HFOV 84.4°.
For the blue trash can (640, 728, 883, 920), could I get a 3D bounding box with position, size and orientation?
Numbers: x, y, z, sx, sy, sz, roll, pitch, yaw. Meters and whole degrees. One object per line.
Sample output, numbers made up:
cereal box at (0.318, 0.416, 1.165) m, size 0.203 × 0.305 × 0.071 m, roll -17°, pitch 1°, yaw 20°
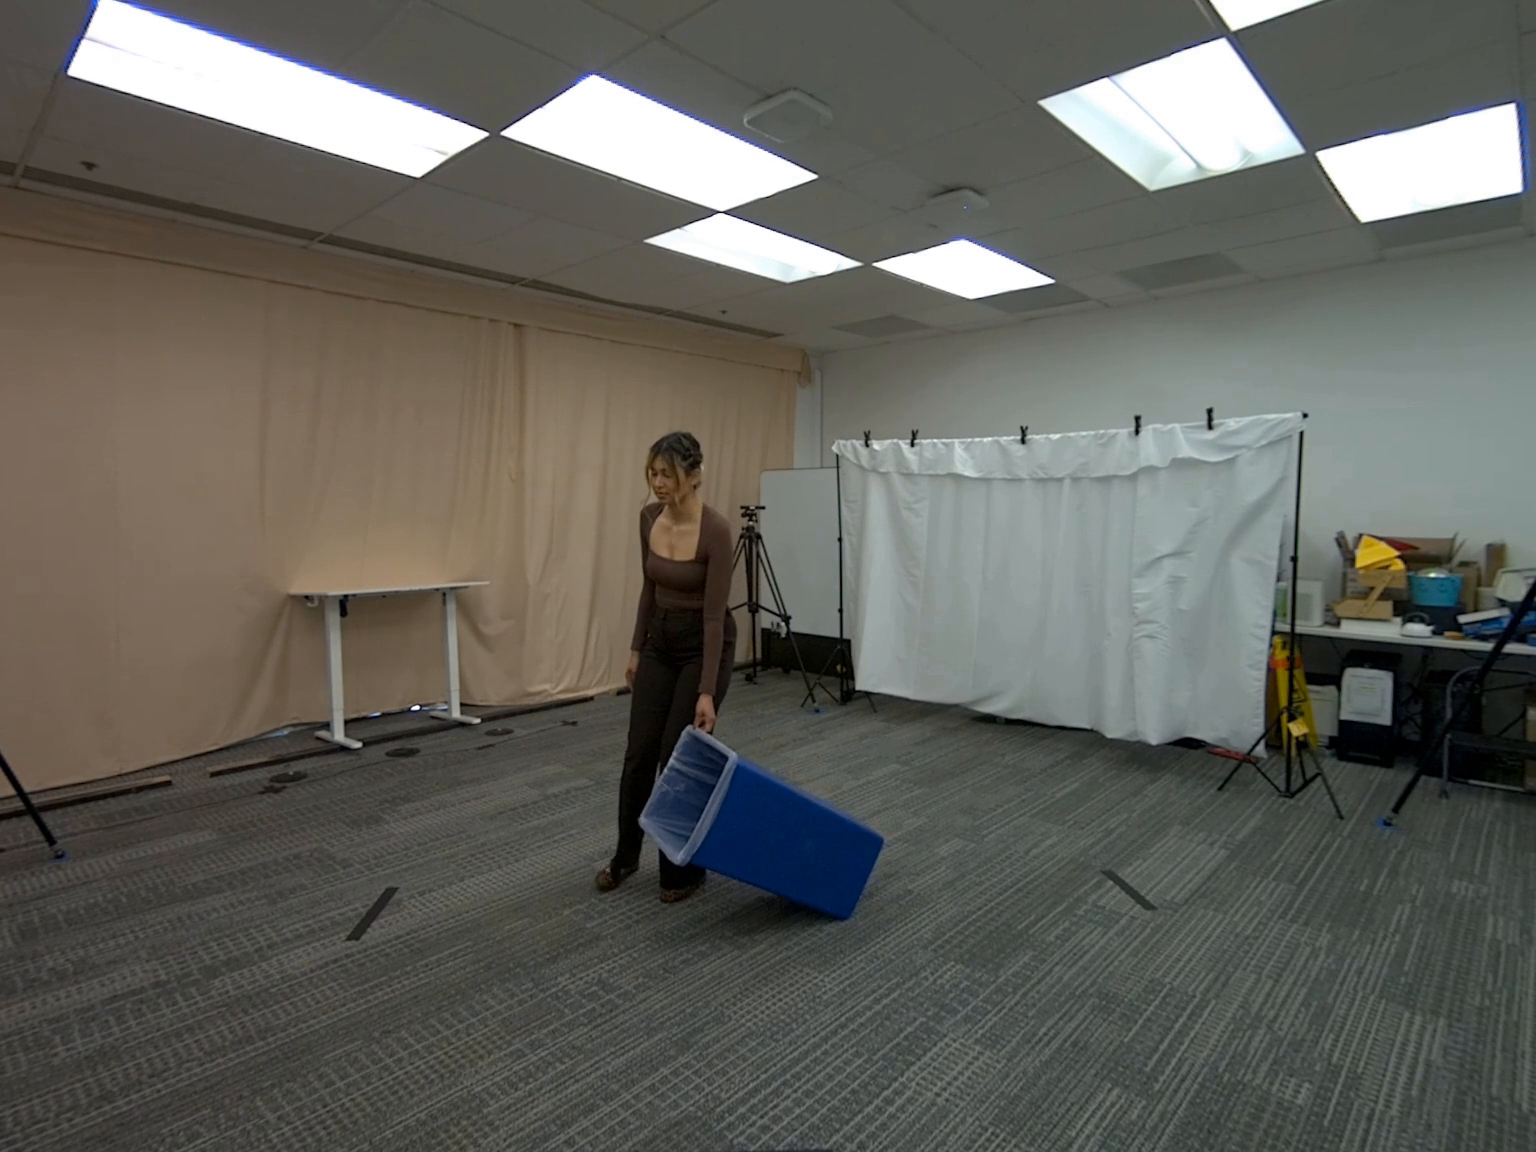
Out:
blue trash can at (0.008, 0.848, 2.825) m, size 0.694 × 0.378 × 0.384 m, roll 31°, pitch -10°, yaw -25°
